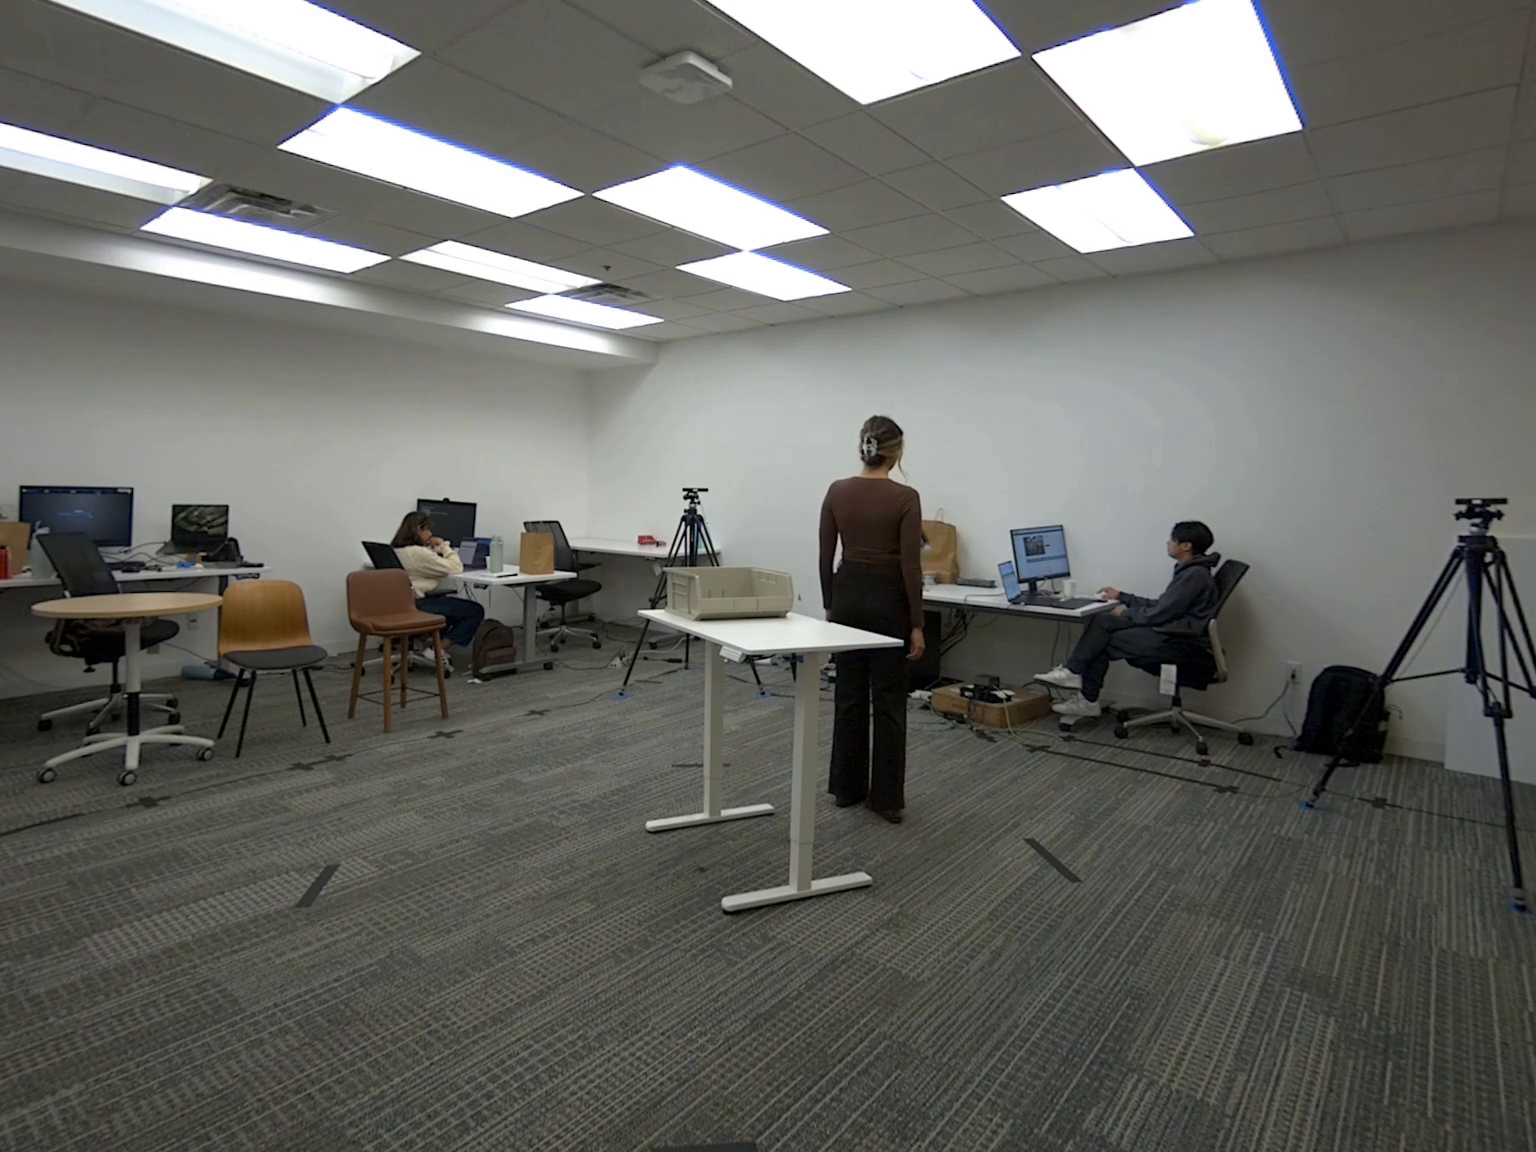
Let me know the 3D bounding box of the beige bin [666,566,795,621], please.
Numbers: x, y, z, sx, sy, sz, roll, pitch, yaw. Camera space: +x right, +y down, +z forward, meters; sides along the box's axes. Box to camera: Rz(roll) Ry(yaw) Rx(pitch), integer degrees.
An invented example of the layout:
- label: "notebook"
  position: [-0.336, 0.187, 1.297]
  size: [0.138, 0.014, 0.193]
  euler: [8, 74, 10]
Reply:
- label: "beige bin"
  position: [-0.173, 0.067, 3.466]
  size: [0.412, 0.188, 0.387]
  euler: [-2, 4, -27]
